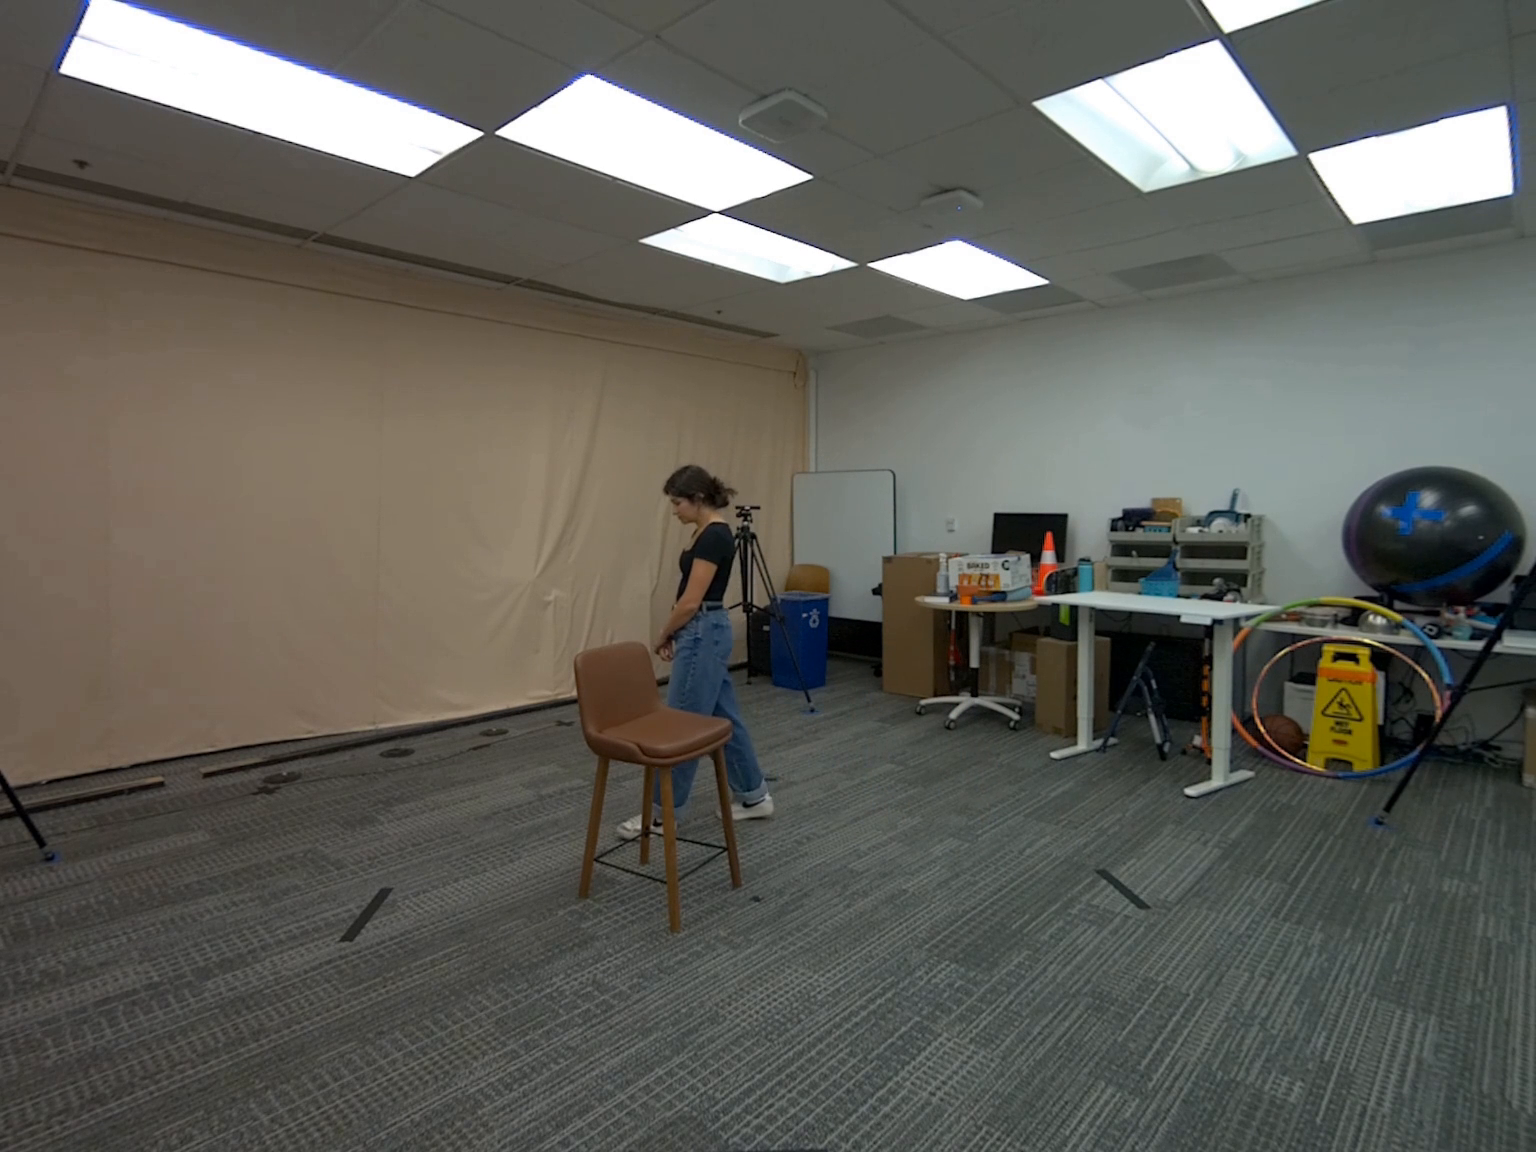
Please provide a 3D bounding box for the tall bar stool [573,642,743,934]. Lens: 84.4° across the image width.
[{"bbox_3d":[-0.399,0.709,3.018,0.481,0.889,0.444,-1,2,33],"label":"tall bar stool"}]
